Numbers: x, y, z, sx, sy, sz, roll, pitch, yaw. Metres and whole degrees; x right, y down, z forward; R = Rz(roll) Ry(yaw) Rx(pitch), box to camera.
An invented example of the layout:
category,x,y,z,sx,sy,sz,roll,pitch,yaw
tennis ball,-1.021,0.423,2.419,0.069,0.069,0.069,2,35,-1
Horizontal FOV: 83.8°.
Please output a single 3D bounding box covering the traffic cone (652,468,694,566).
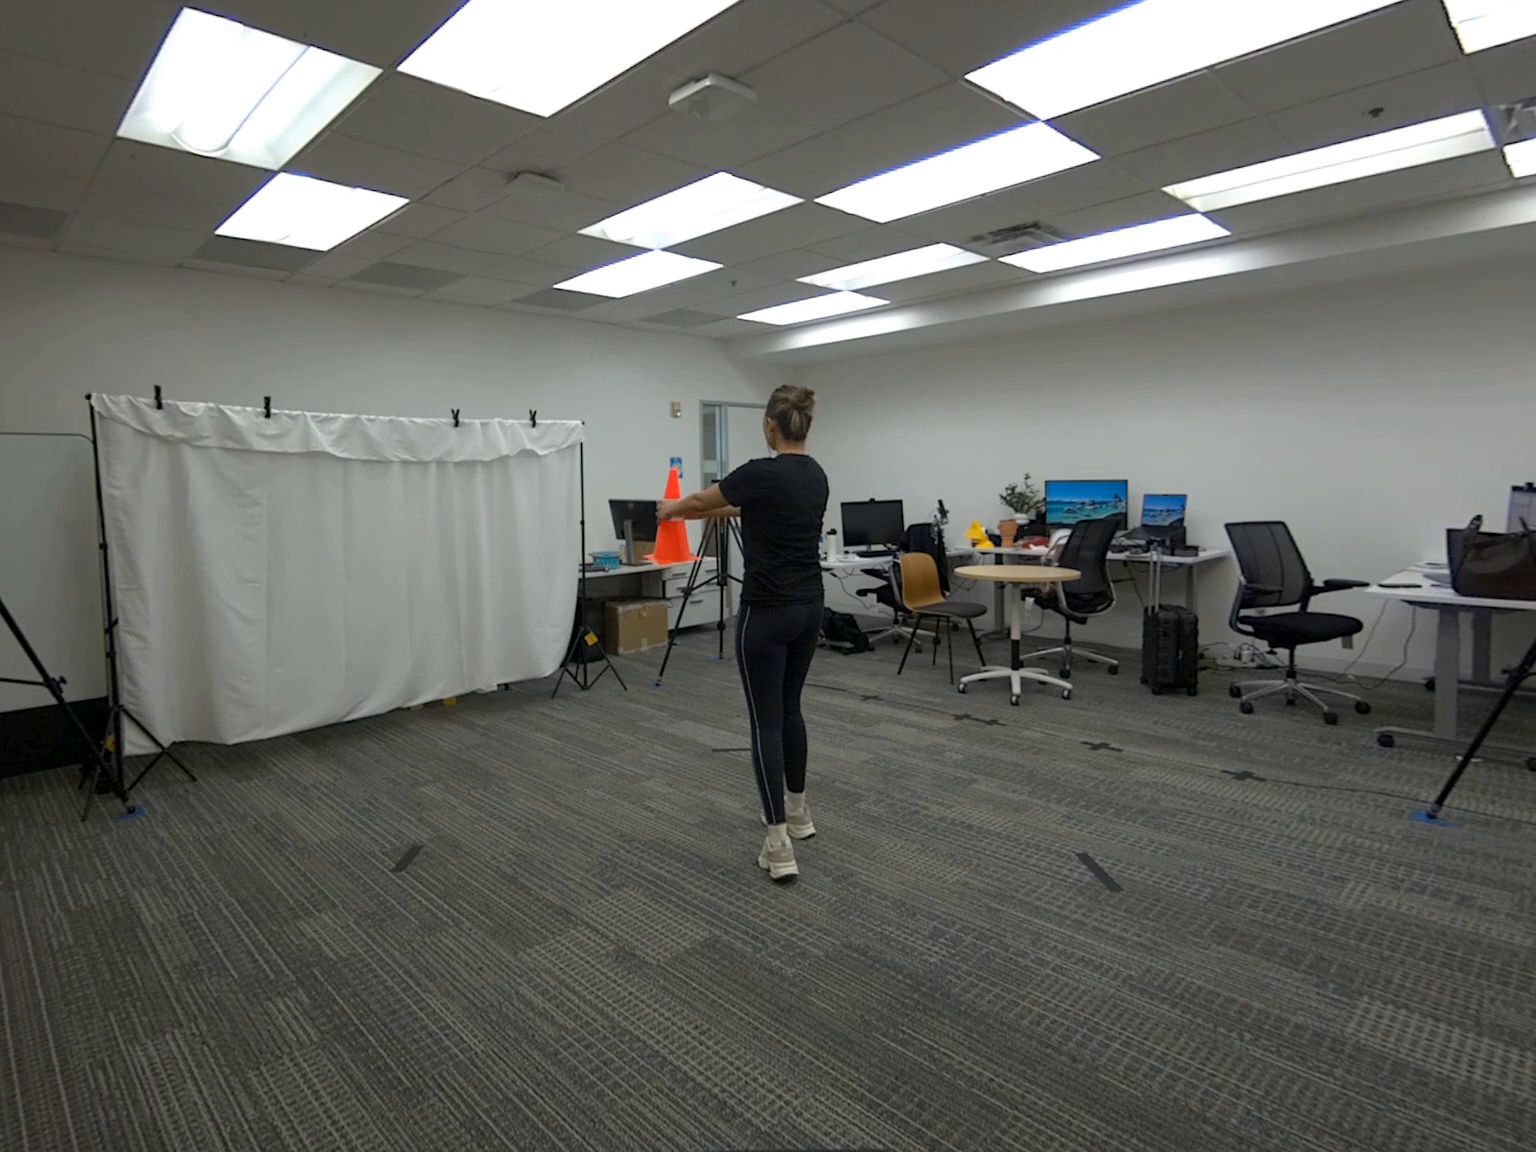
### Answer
category,x,y,z,sx,sy,sz,roll,pitch,yaw
traffic cone,-0.397,-0.264,3.612,0.207,0.381,0.202,4,9,11
